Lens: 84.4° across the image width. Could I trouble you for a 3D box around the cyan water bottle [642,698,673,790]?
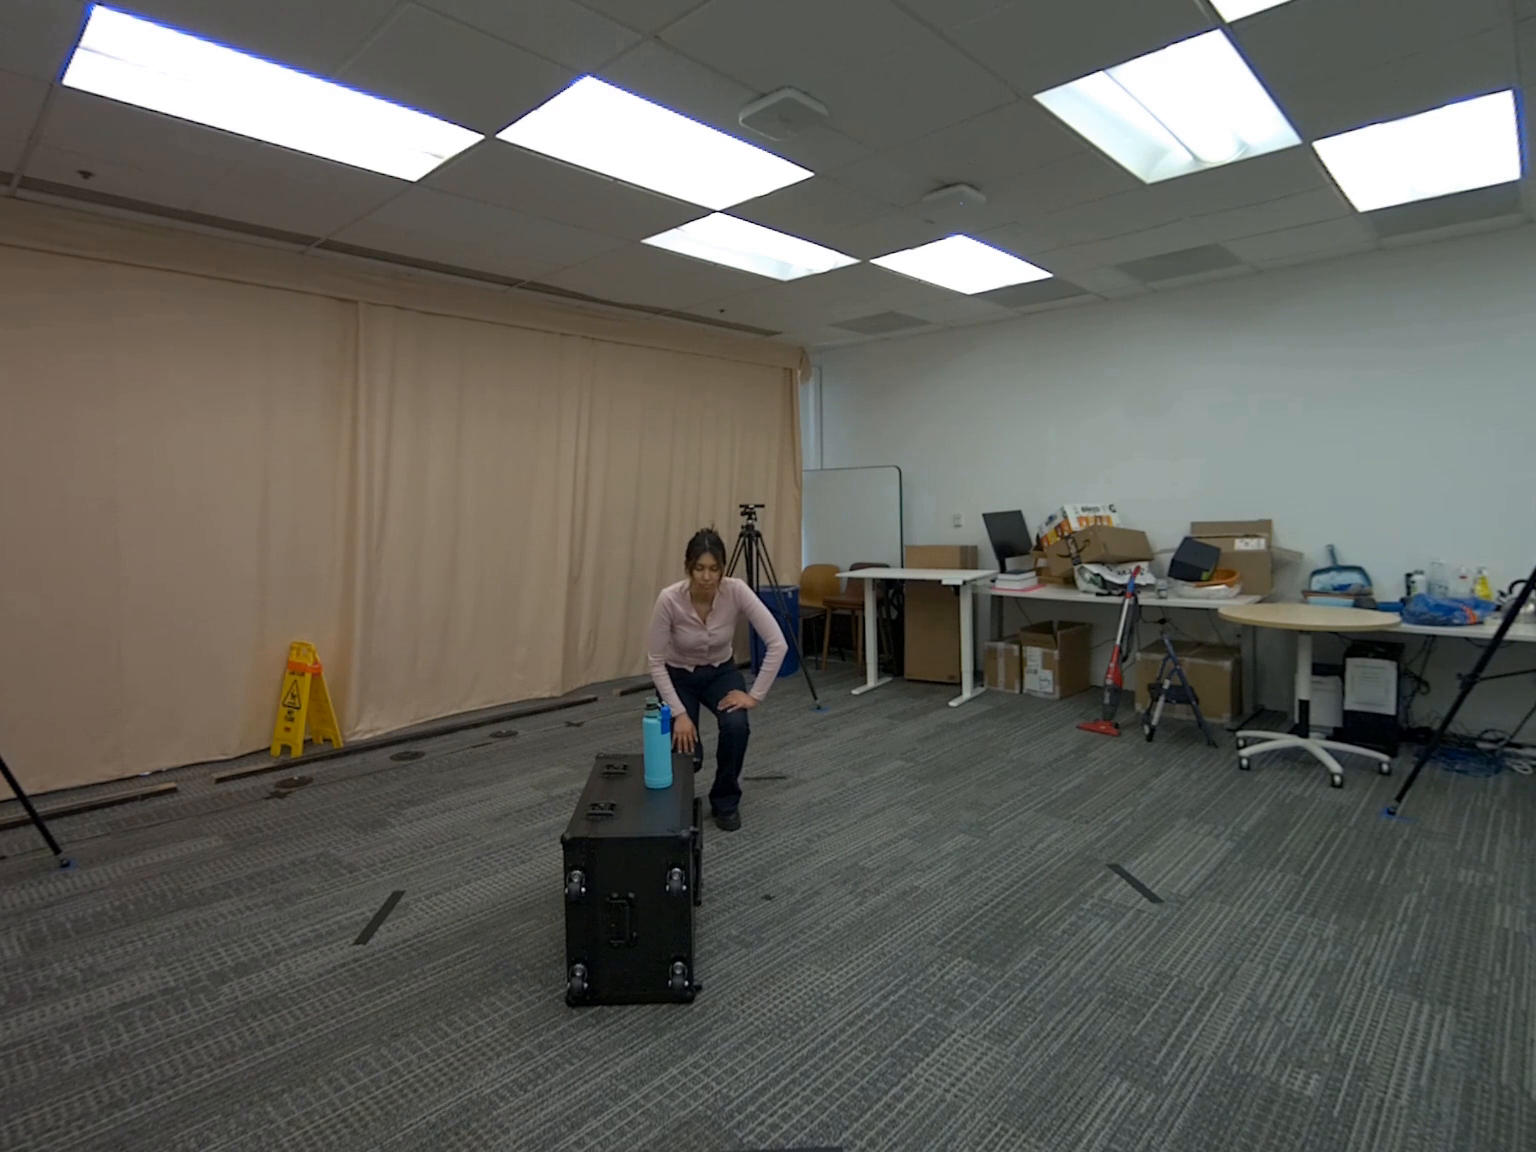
[{"bbox_3d":[-0.363,0.543,2.760,0.092,0.283,0.092,-1,2,-2],"label":"cyan water bottle"}]
